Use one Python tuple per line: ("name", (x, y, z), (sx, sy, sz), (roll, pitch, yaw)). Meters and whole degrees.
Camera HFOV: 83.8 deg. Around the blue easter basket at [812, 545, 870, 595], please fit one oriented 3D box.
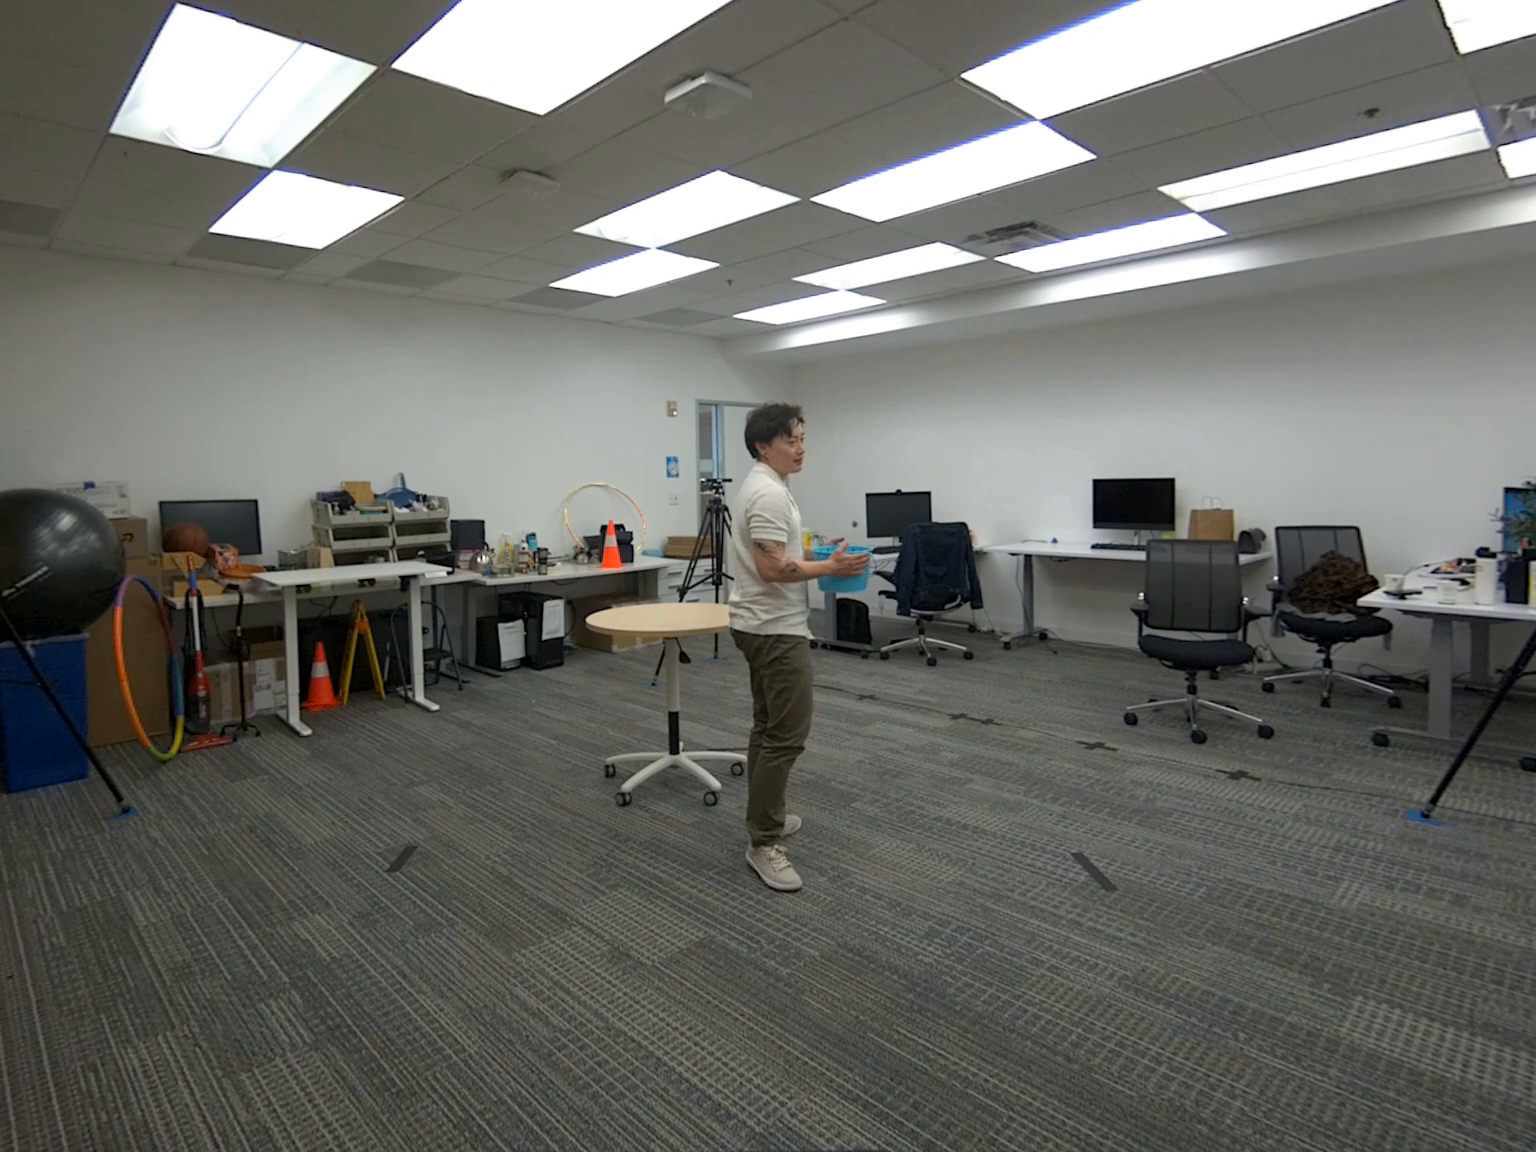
("blue easter basket", (0.282, -0.025, 3.212), (0.243, 0.155, 0.245), (-1, 8, -2))
